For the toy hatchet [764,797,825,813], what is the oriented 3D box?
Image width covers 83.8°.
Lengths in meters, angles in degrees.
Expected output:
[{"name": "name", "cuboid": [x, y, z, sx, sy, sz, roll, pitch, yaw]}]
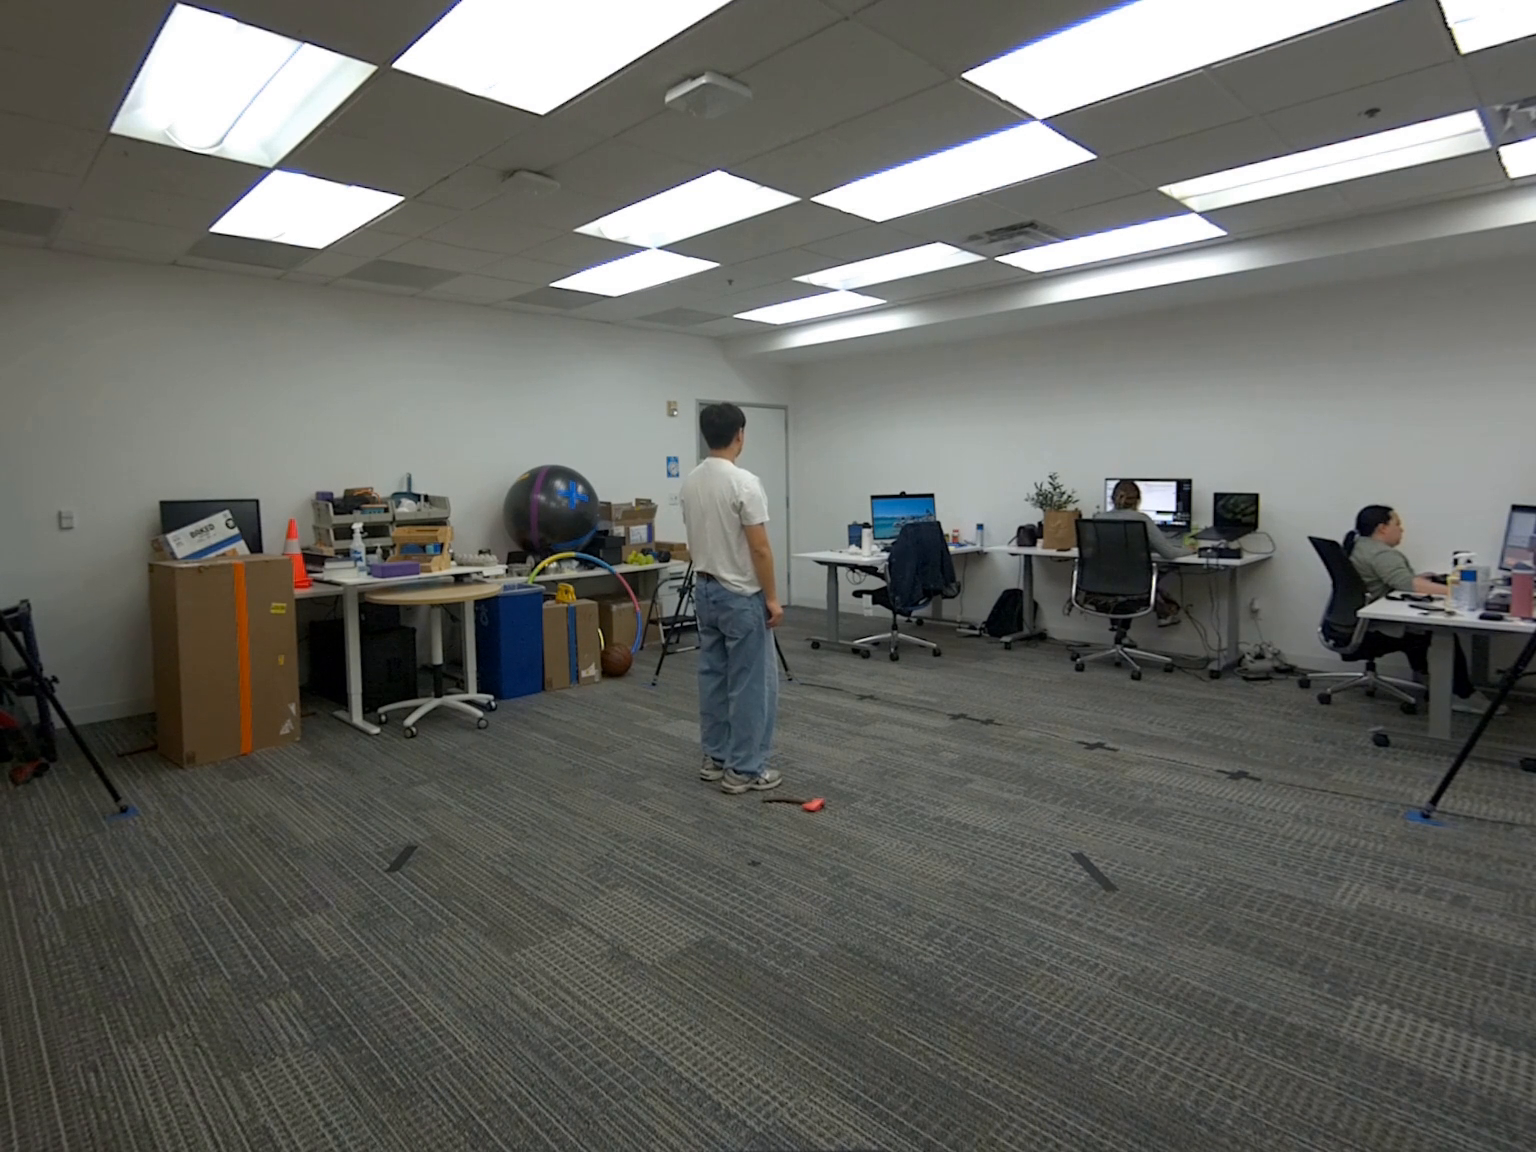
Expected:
[{"name": "toy hatchet", "cuboid": [0.108, 0.973, 3.636, 0.272, 0.029, 0.130, -2, 6, 9]}]
